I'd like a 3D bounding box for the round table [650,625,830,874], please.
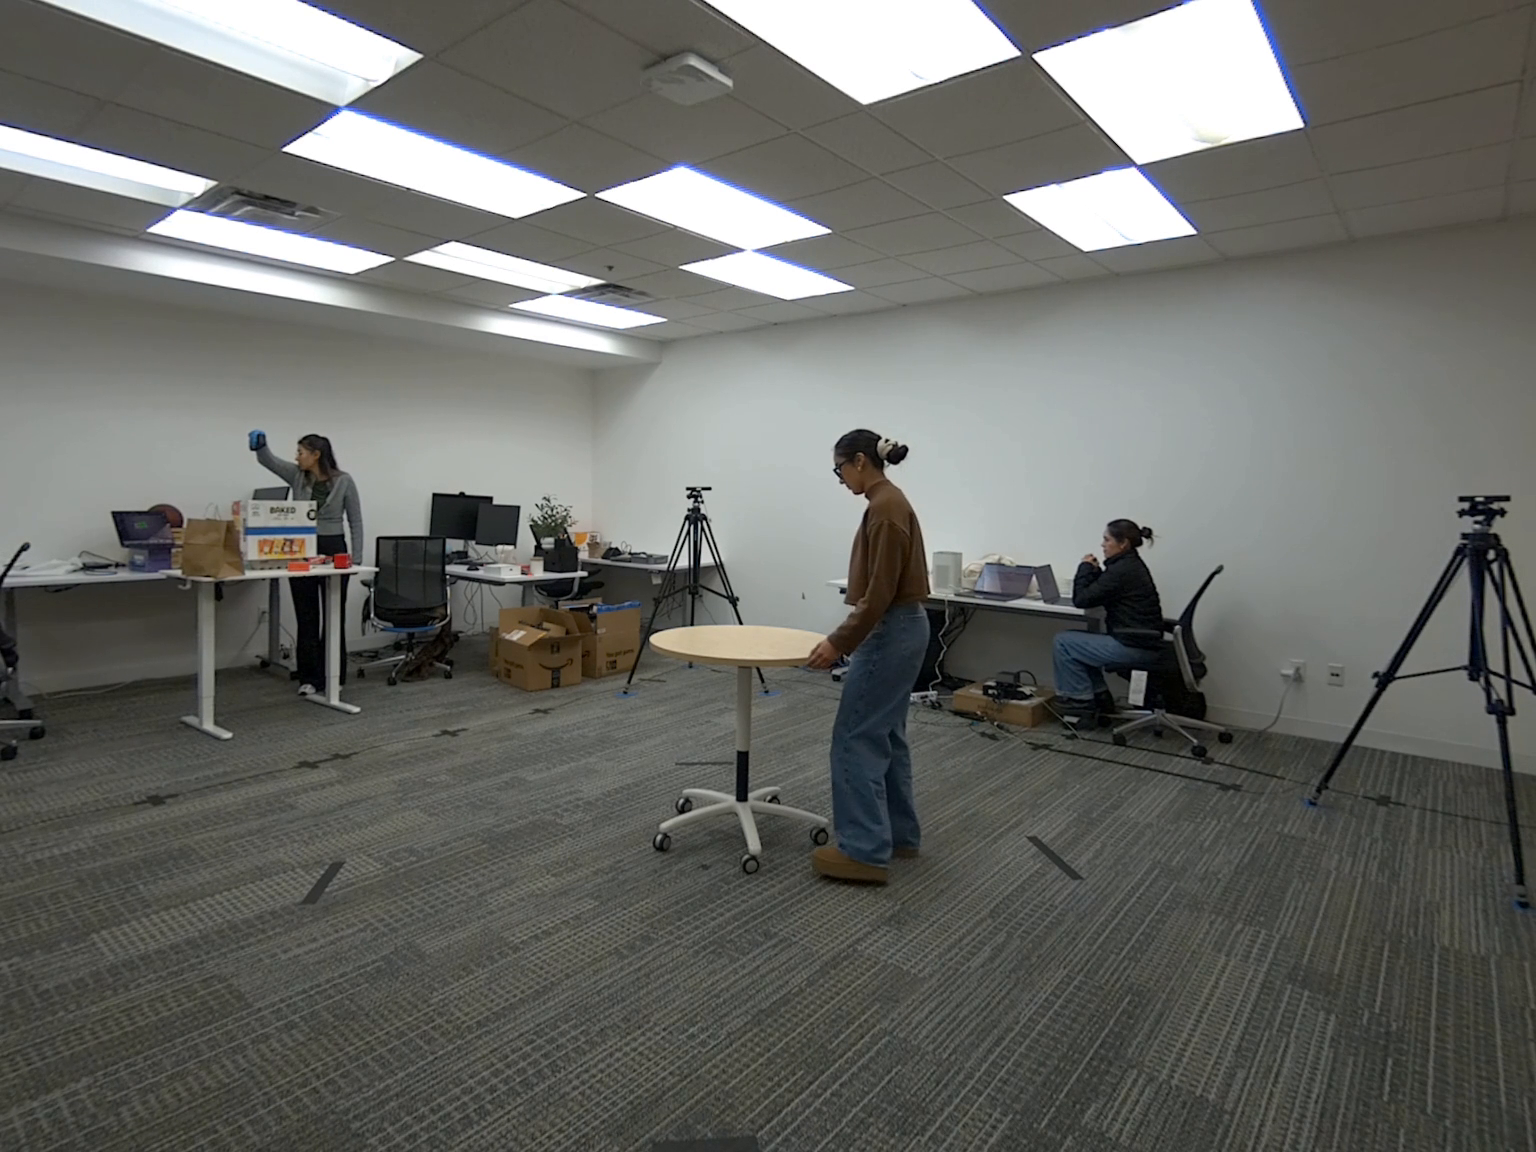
[{"bbox_3d":[-0.114,0.649,3.410,0.763,0.792,0.767,1,4,-2],"label":"round table"}]
